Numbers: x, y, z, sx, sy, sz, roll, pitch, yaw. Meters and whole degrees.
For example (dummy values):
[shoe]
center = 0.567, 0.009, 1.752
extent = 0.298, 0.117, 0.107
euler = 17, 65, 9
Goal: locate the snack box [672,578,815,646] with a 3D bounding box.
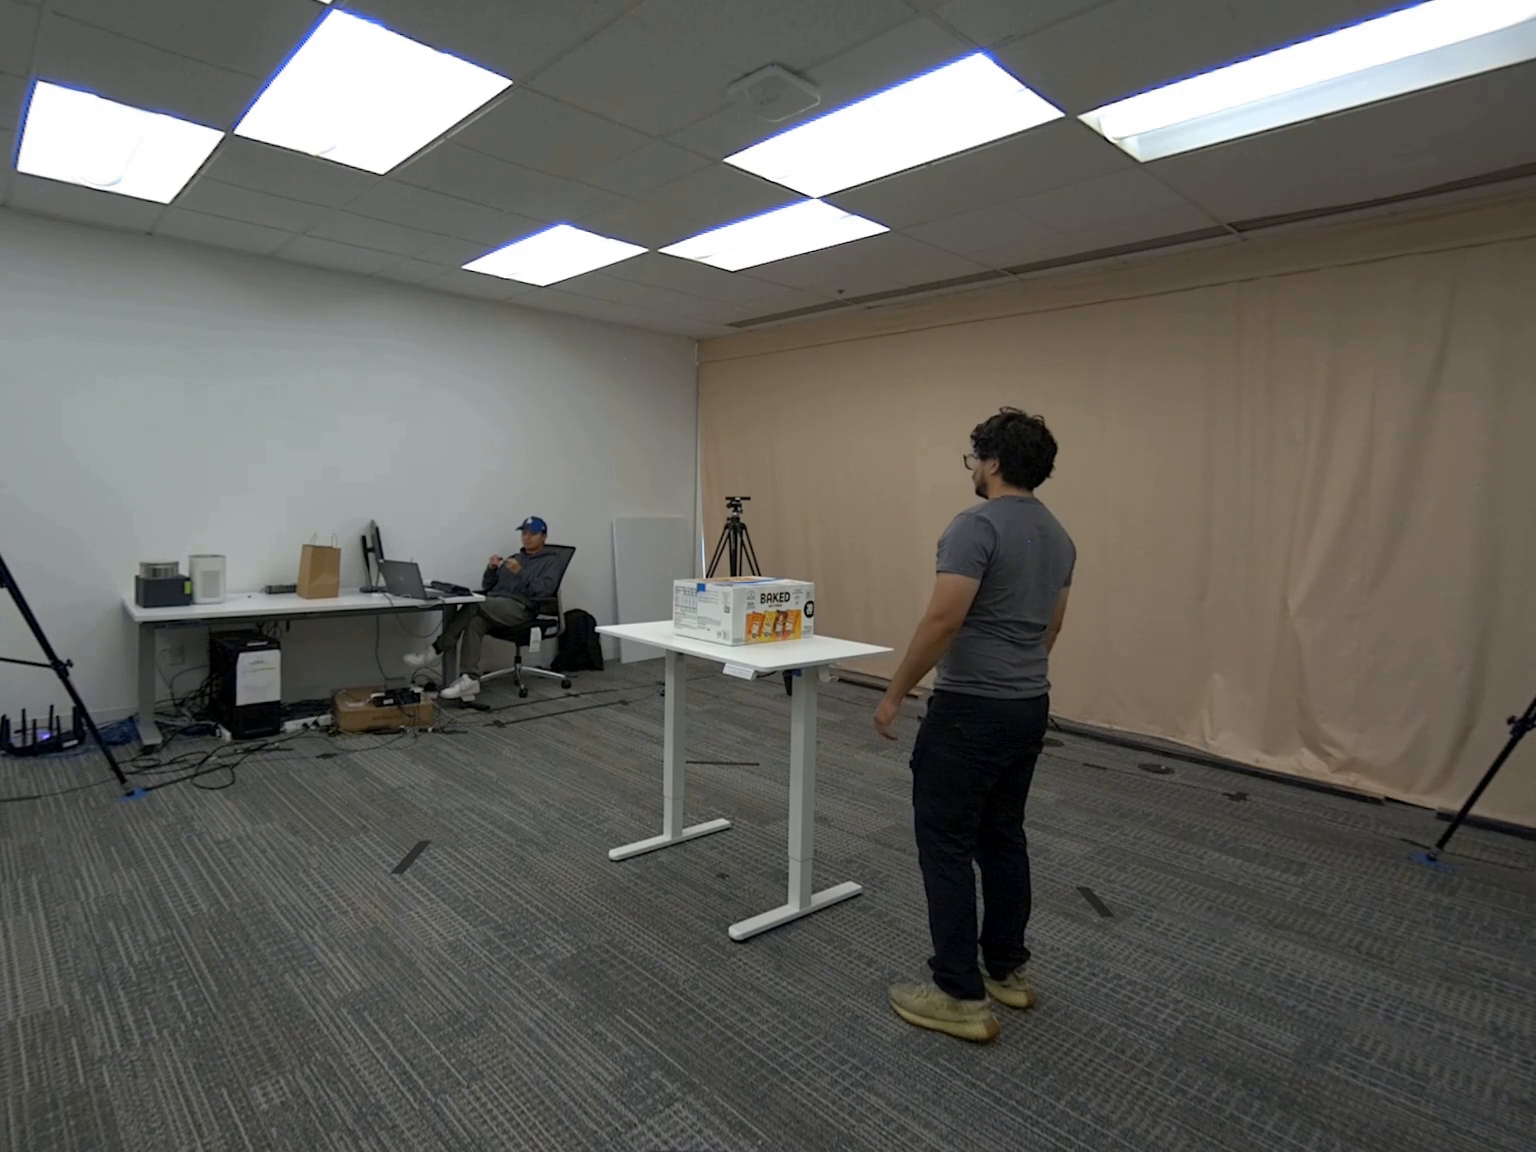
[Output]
[snack box]
center = -0.096, 0.121, 3.119
extent = 0.396, 0.205, 0.349
euler = -3, 5, -42
